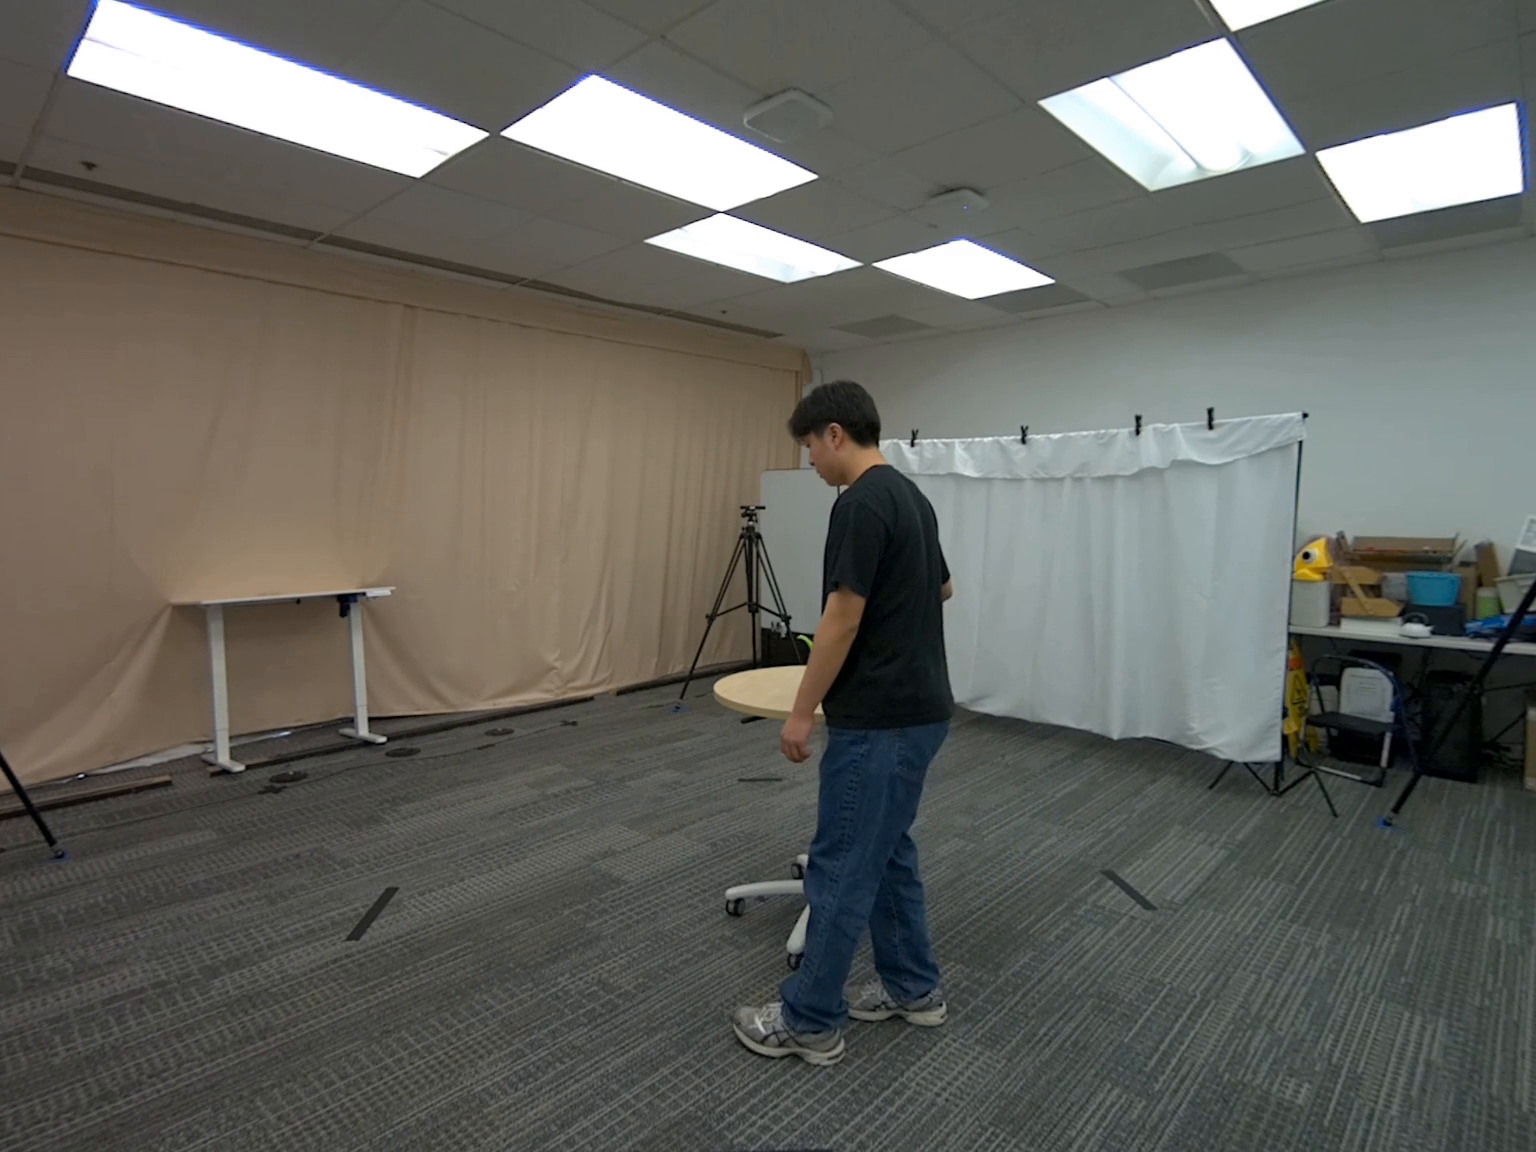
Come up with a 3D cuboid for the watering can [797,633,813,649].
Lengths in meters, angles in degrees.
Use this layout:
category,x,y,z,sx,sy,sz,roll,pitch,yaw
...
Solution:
category,x,y,z,sx,sy,sz,roll,pitch,yaw
watering can,0.240,0.285,2.638,0.288,0.176,0.095,5,4,45
